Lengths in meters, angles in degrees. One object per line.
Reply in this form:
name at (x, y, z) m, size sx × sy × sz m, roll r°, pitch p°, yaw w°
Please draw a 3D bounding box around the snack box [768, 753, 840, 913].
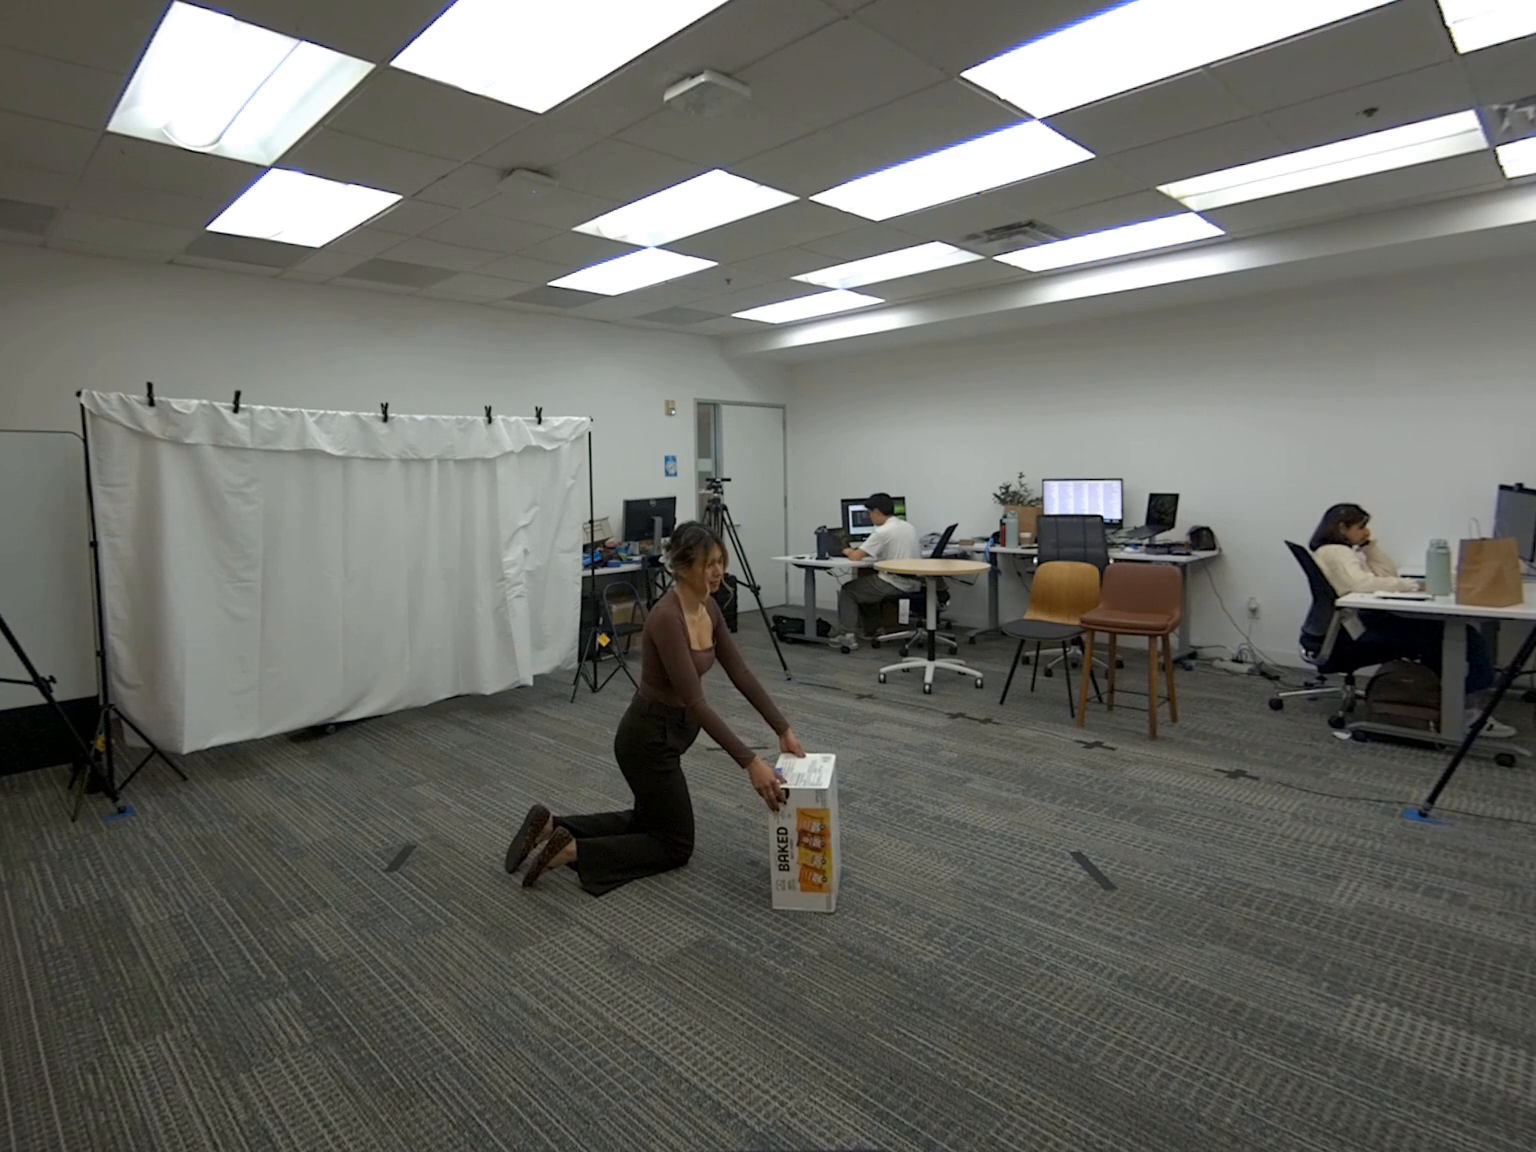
snack box at (0.131, 0.857, 2.906) m, size 0.208 × 0.404 × 0.338 m, roll -3°, pitch 4°, yaw 9°
